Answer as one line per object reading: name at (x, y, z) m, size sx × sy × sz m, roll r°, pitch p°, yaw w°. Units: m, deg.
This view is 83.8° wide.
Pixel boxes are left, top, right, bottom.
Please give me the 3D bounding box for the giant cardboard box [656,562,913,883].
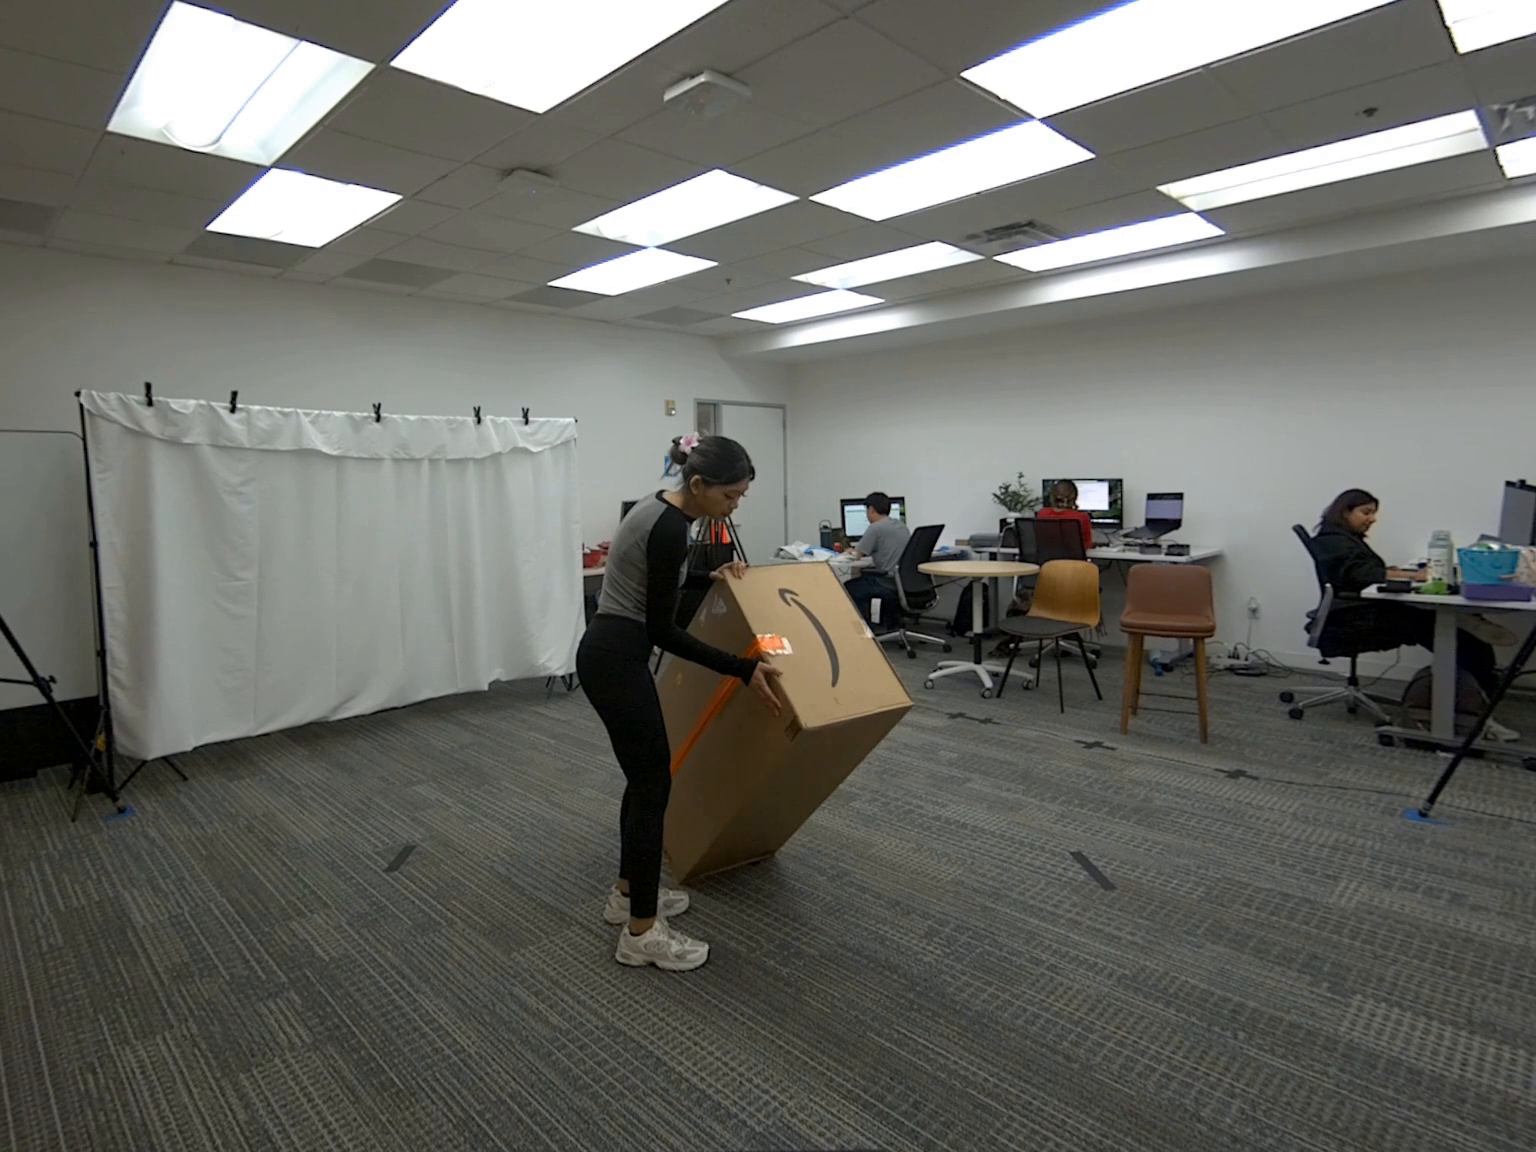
giant cardboard box at (-0.056, 0.513, 2.898) m, size 0.435 × 0.604 × 1.018 m, roll -4°, pitch -39°, yaw -36°
